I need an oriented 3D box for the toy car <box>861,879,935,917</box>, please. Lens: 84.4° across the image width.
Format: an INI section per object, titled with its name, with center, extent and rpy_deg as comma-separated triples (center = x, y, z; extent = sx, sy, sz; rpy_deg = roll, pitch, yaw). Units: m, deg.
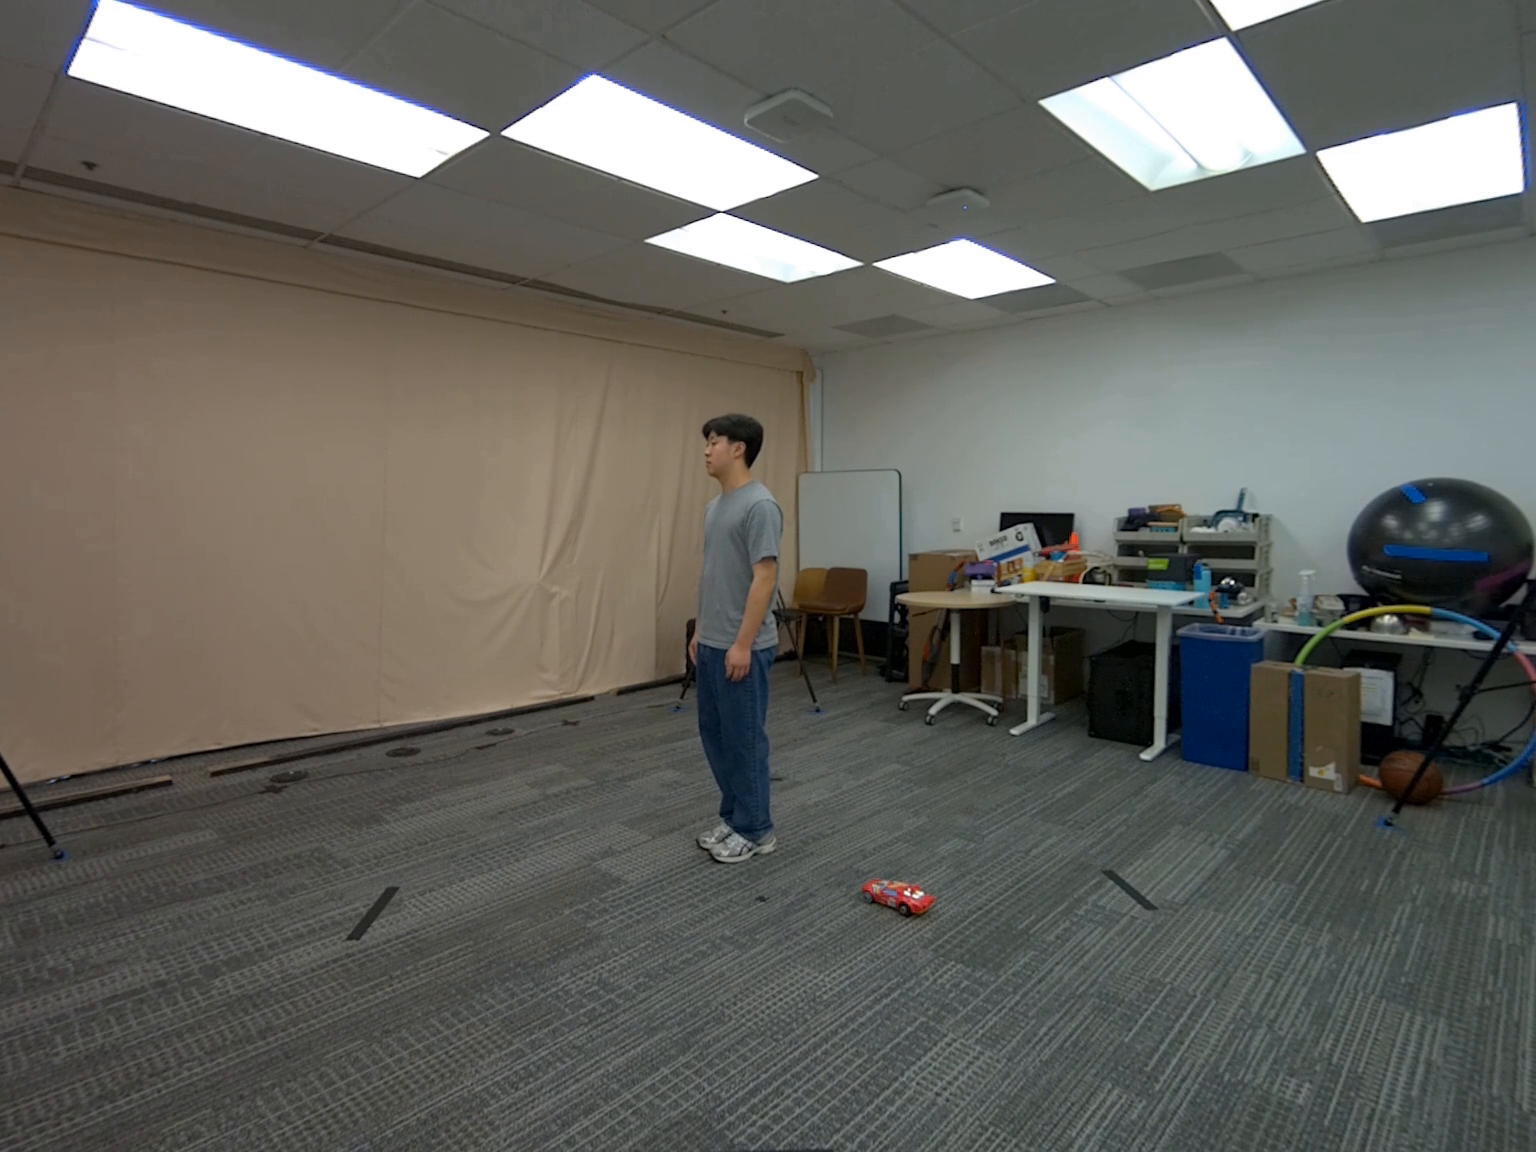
[toy car]
center = 0.462, 1.114, 2.916
extent = 0.262, 0.083, 0.126
rpy_deg = -10, -3, 42
